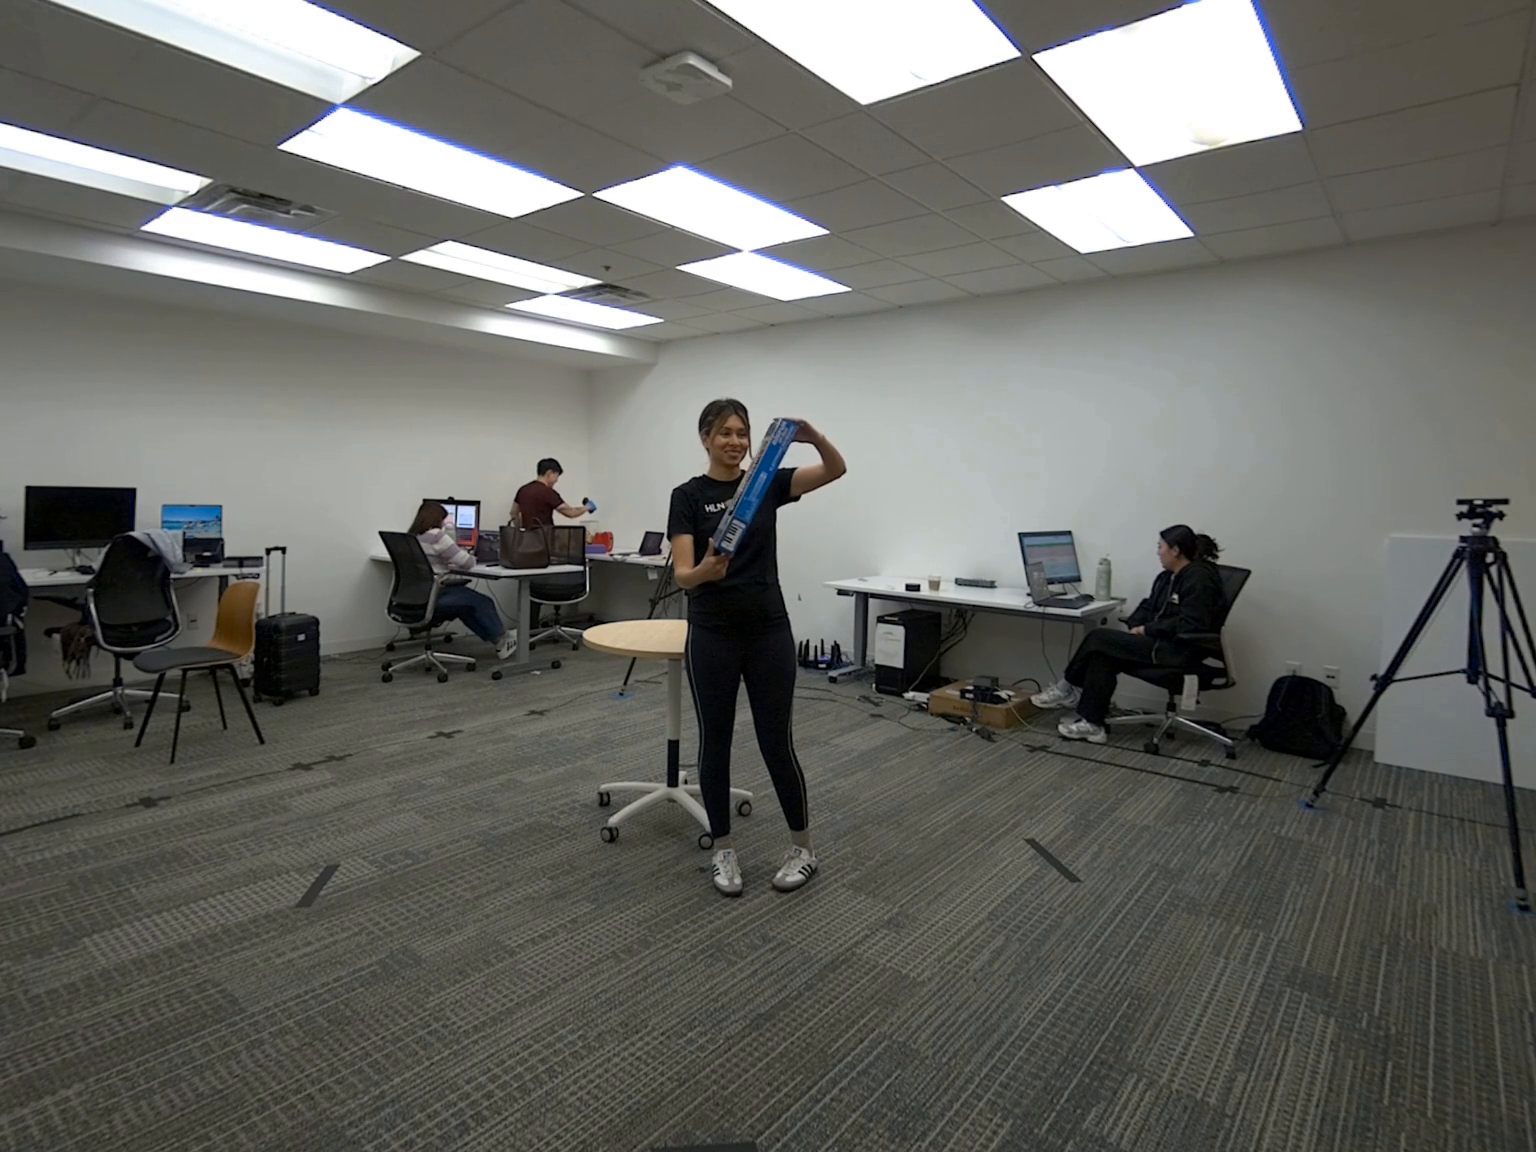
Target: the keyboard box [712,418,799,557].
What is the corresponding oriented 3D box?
[{"bbox_3d":[-0.056,-0.279,2.634,0.058,0.437,0.178,27,-1,-12],"label":"keyboard box"}]
